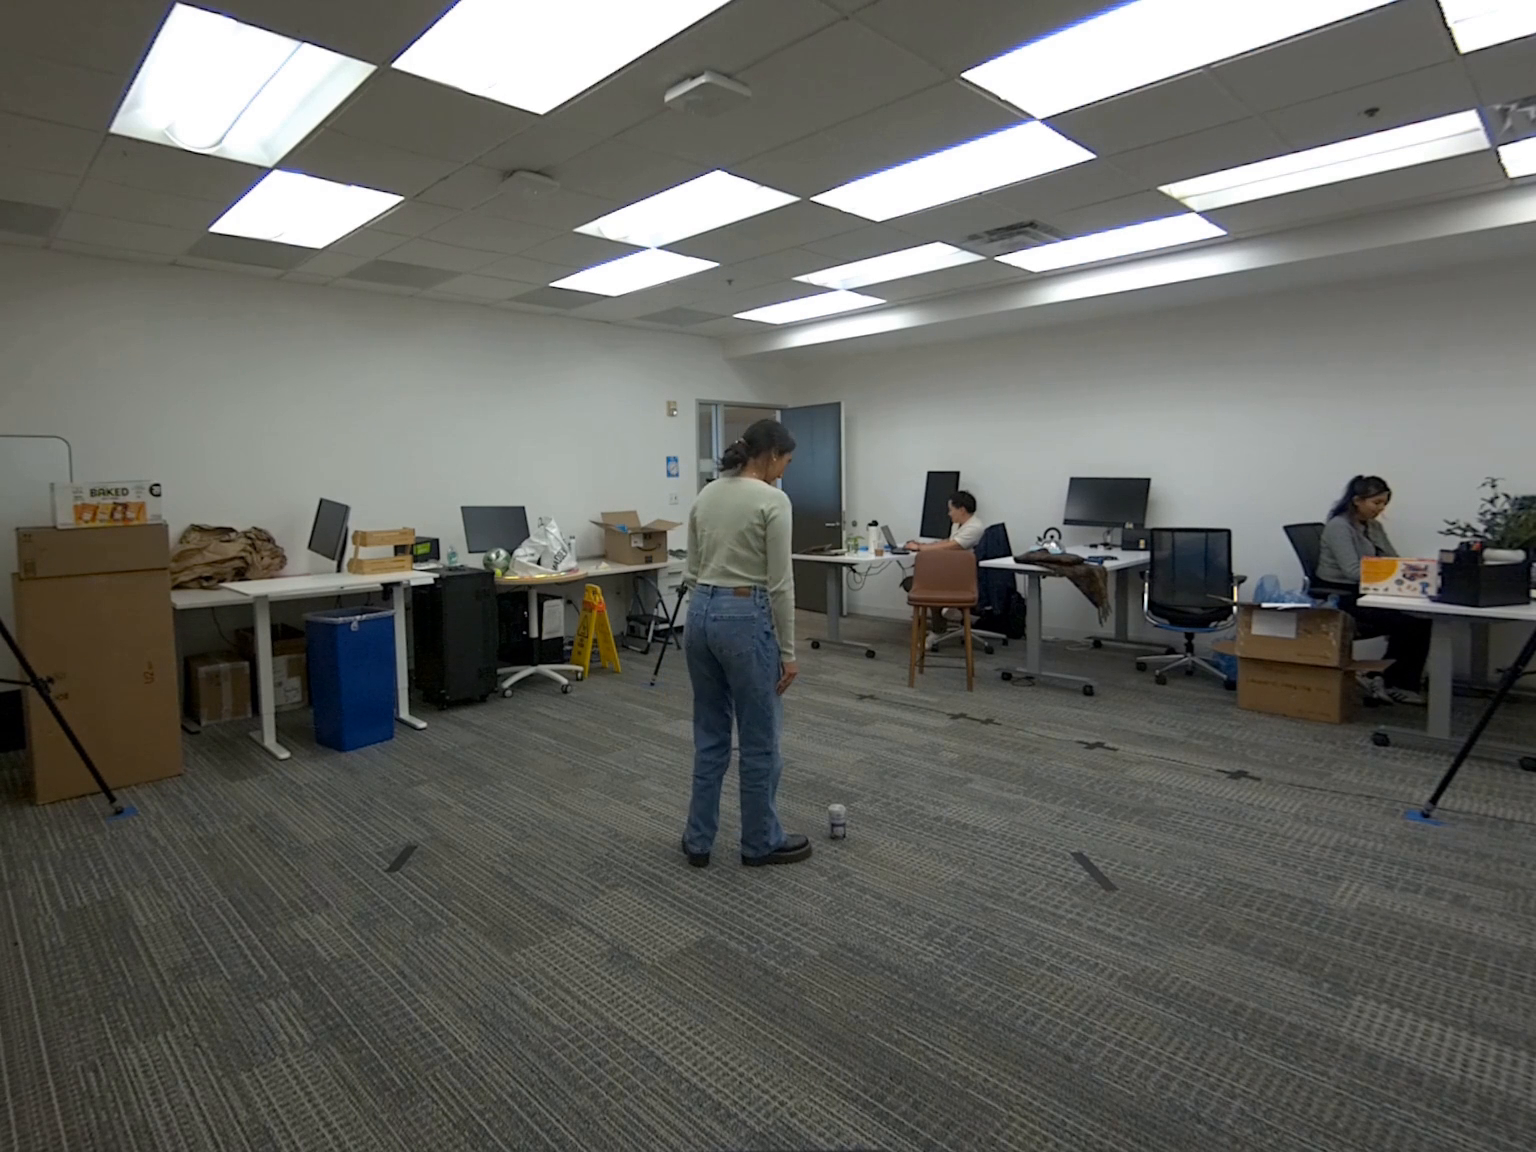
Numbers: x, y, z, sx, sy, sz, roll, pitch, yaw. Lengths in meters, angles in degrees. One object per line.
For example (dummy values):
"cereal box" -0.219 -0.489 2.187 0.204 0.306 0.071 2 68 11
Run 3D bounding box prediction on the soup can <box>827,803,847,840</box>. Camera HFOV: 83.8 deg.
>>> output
"soup can" 0.273 0.958 3.315 0.067 0.121 0.067 -2 5 -2
